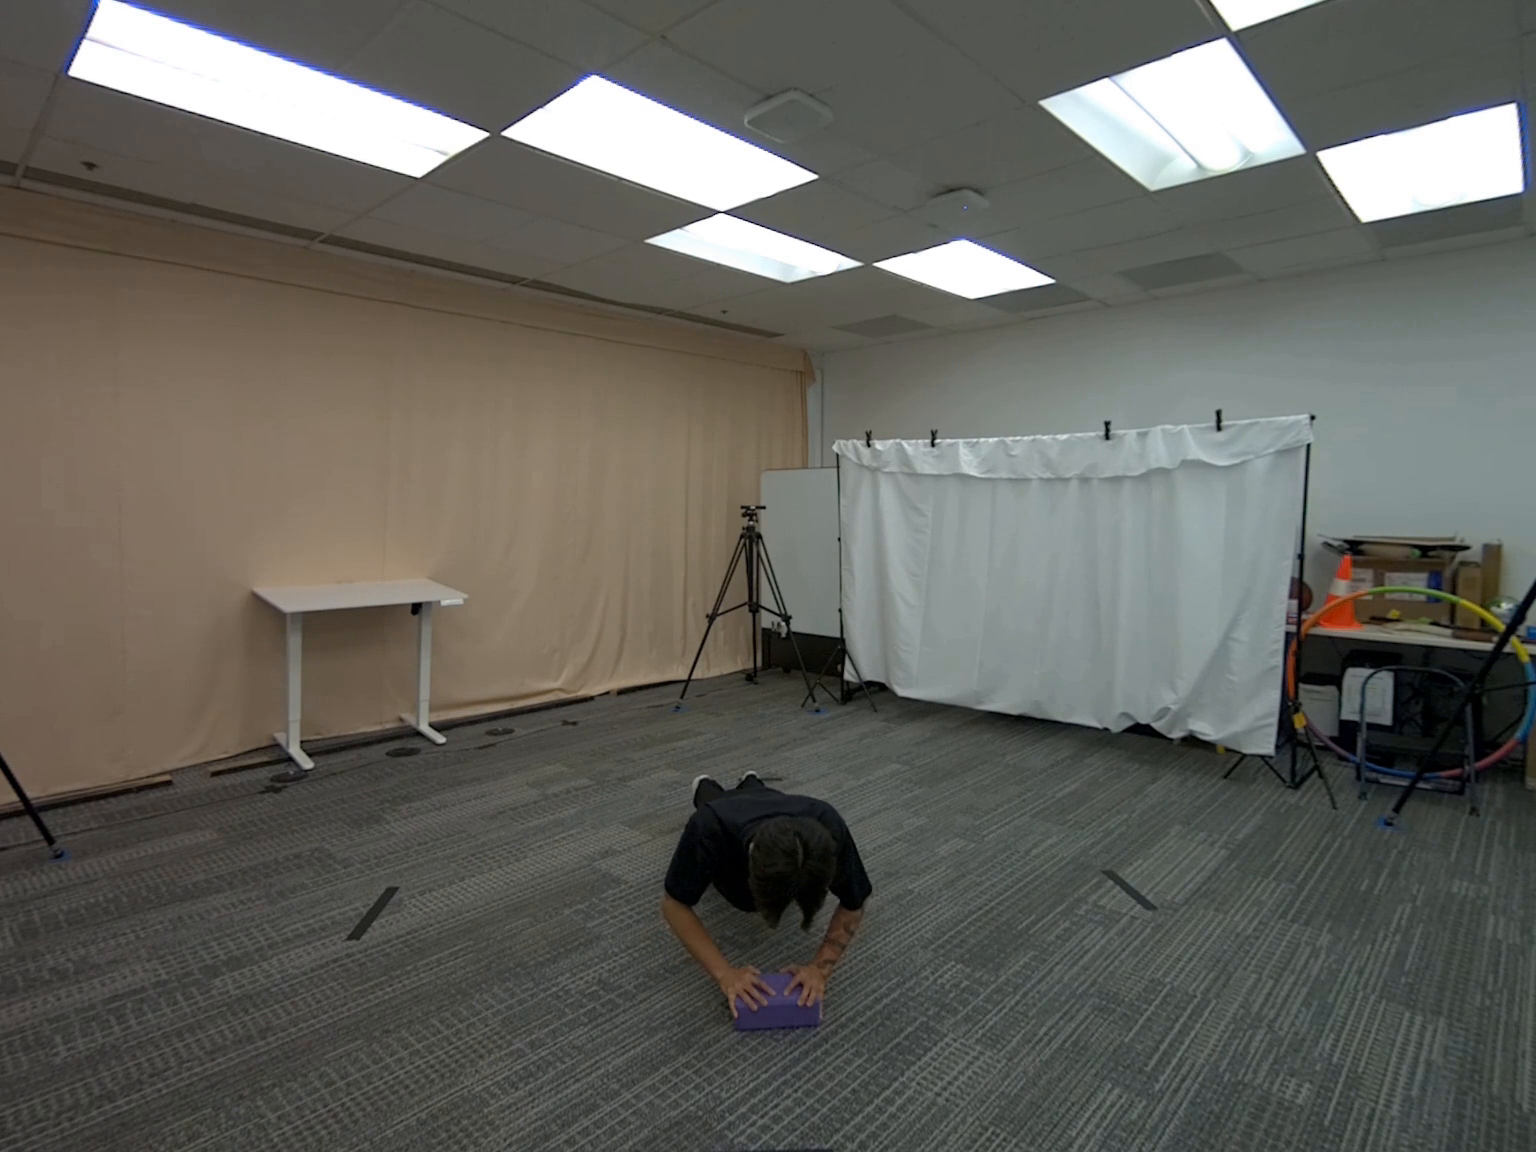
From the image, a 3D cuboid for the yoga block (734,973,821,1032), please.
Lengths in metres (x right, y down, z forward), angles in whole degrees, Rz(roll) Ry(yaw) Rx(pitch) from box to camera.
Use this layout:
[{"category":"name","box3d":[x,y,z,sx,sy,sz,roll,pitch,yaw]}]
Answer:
[{"category":"yoga block","box3d":[0.015,1.168,2.305,0.227,0.076,0.150,-3,5,-8]}]
